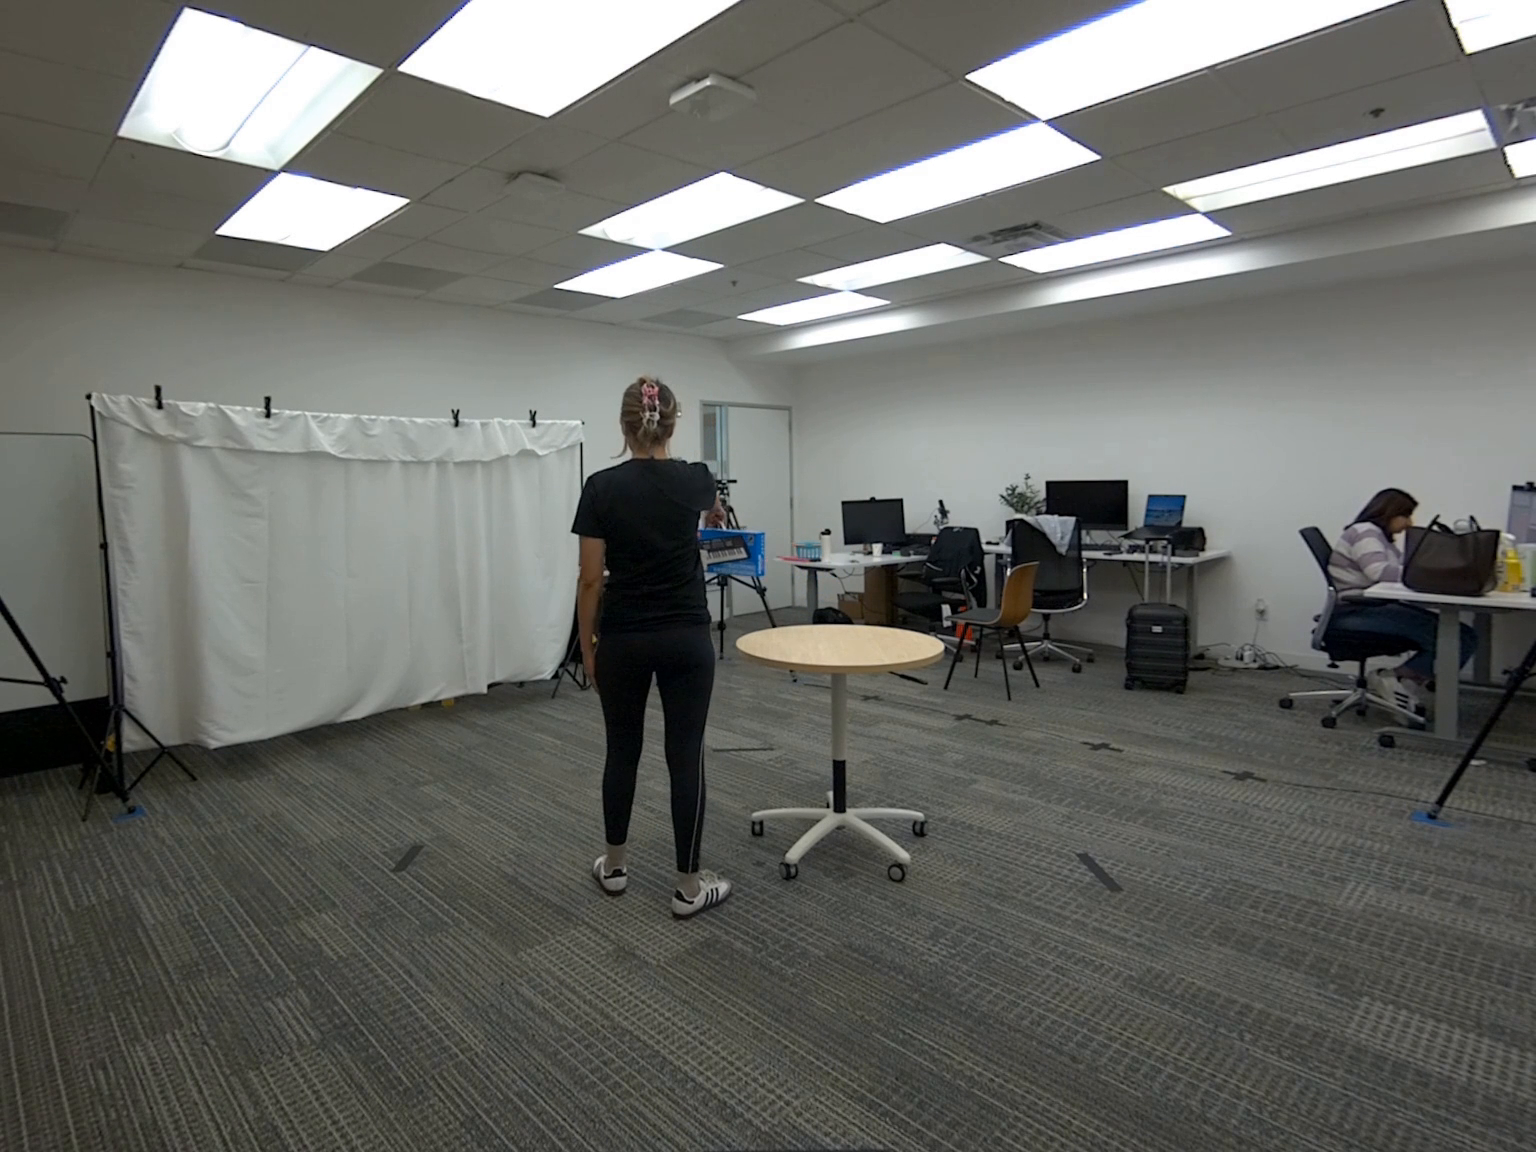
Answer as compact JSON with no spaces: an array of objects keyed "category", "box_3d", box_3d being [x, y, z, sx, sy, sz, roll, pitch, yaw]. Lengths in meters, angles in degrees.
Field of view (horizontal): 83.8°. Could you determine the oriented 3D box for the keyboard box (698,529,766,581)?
[{"category":"keyboard box","box_3d":[-0.208,-0.097,3.421,0.450,0.175,0.057,5,6,35]}]
